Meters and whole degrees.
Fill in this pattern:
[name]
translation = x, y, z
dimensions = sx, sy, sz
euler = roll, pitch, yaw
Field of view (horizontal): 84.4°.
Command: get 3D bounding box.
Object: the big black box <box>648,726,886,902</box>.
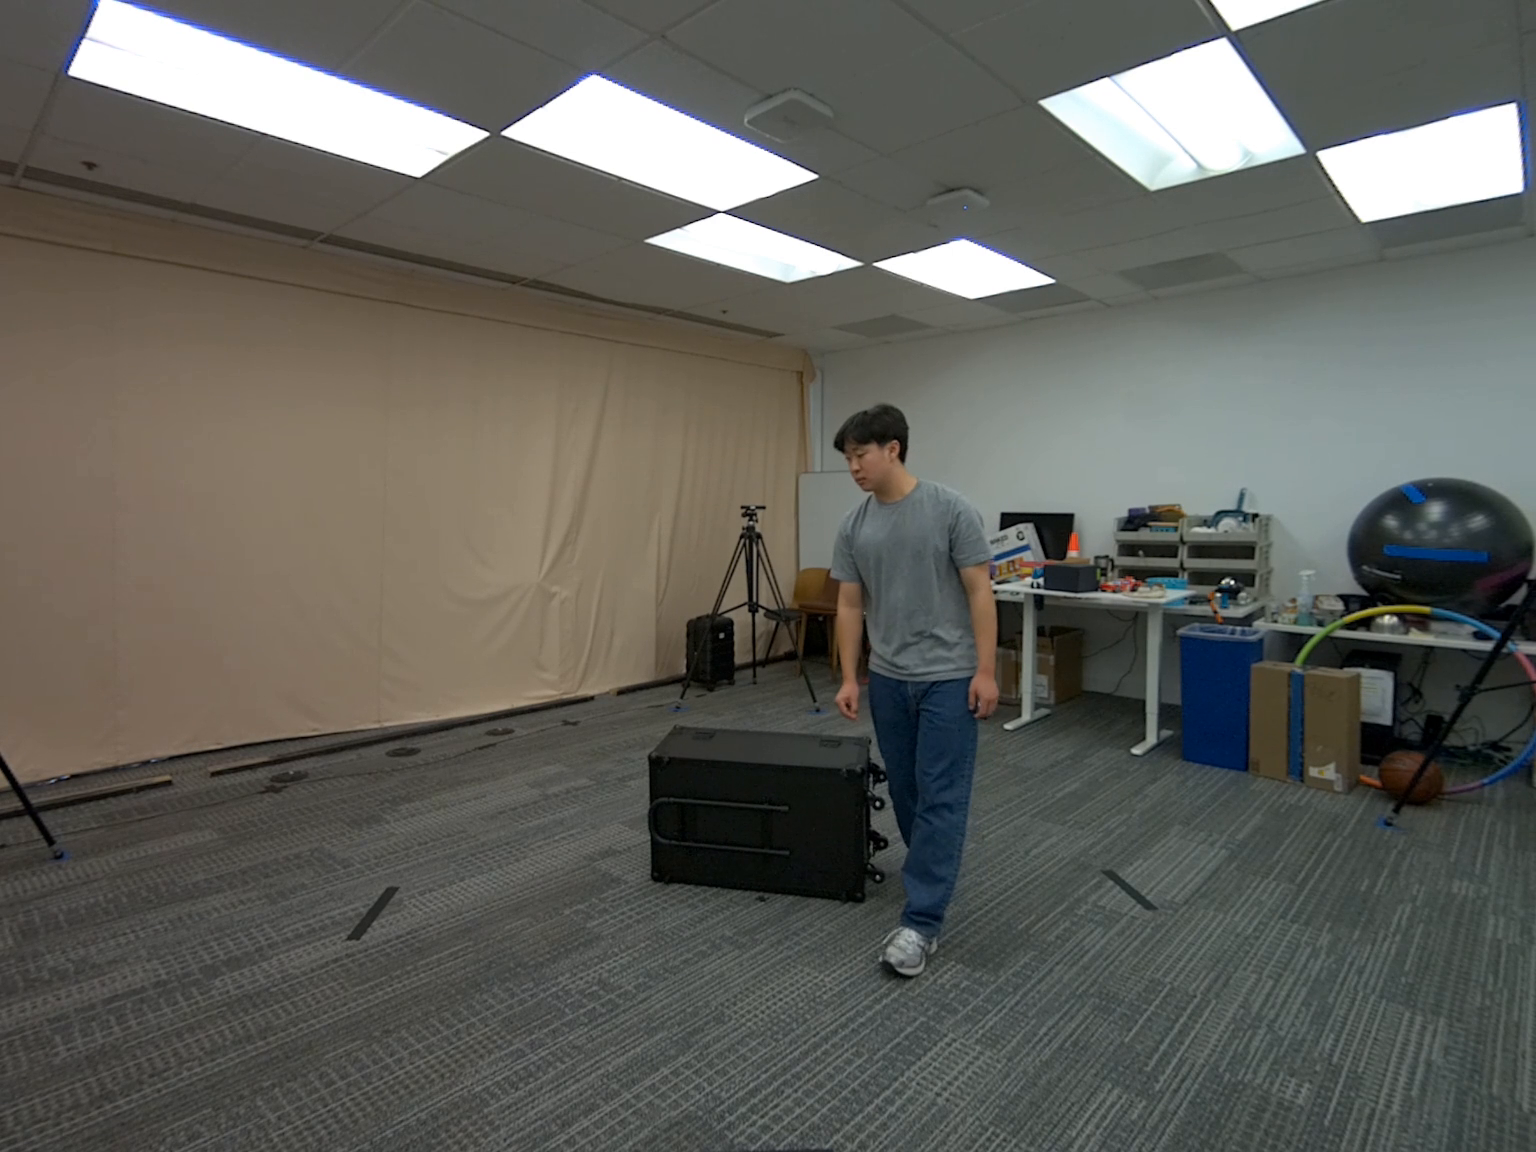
[big black box]
translation = 0.008, 0.868, 3.161
dimensions = 0.874, 0.519, 0.392
euler = 1, 6, 13
